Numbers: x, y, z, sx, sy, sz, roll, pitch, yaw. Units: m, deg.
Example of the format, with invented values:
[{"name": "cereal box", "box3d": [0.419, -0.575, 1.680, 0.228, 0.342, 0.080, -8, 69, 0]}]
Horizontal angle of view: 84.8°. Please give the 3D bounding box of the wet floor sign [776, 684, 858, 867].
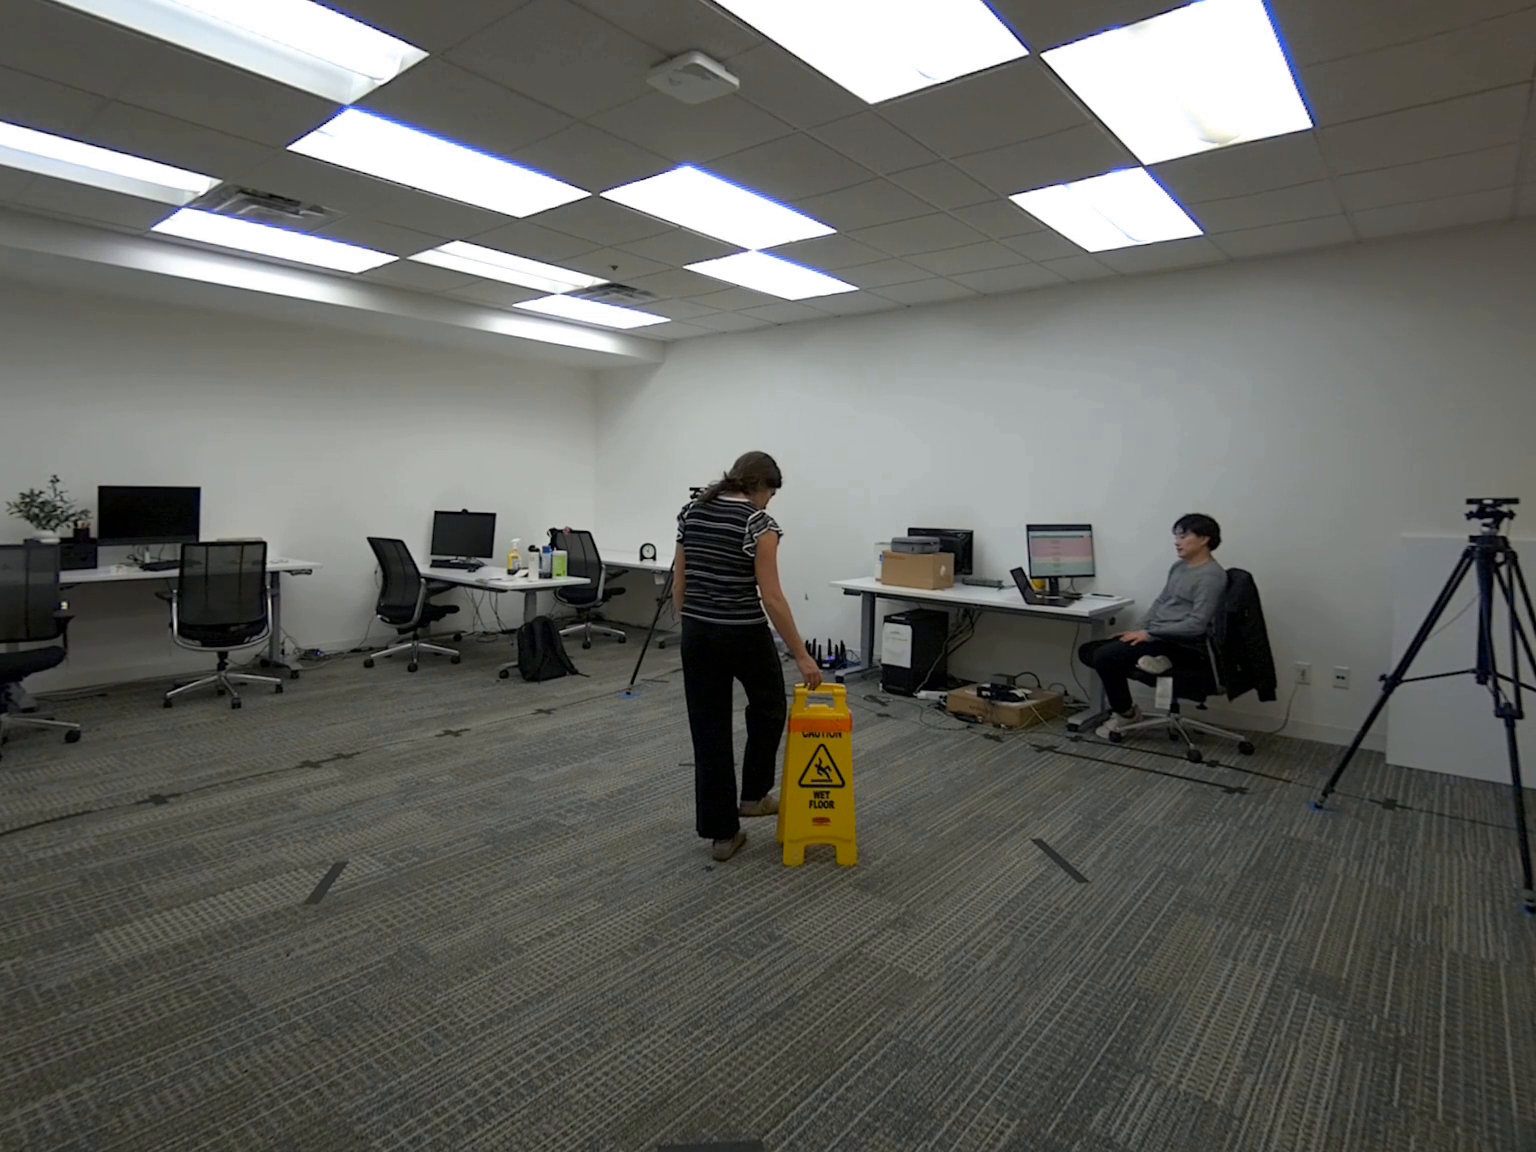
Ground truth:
[{"name": "wet floor sign", "box3d": [0.185, 0.736, 3.247, 0.281, 0.643, 0.293, 0, 5, -6]}]
